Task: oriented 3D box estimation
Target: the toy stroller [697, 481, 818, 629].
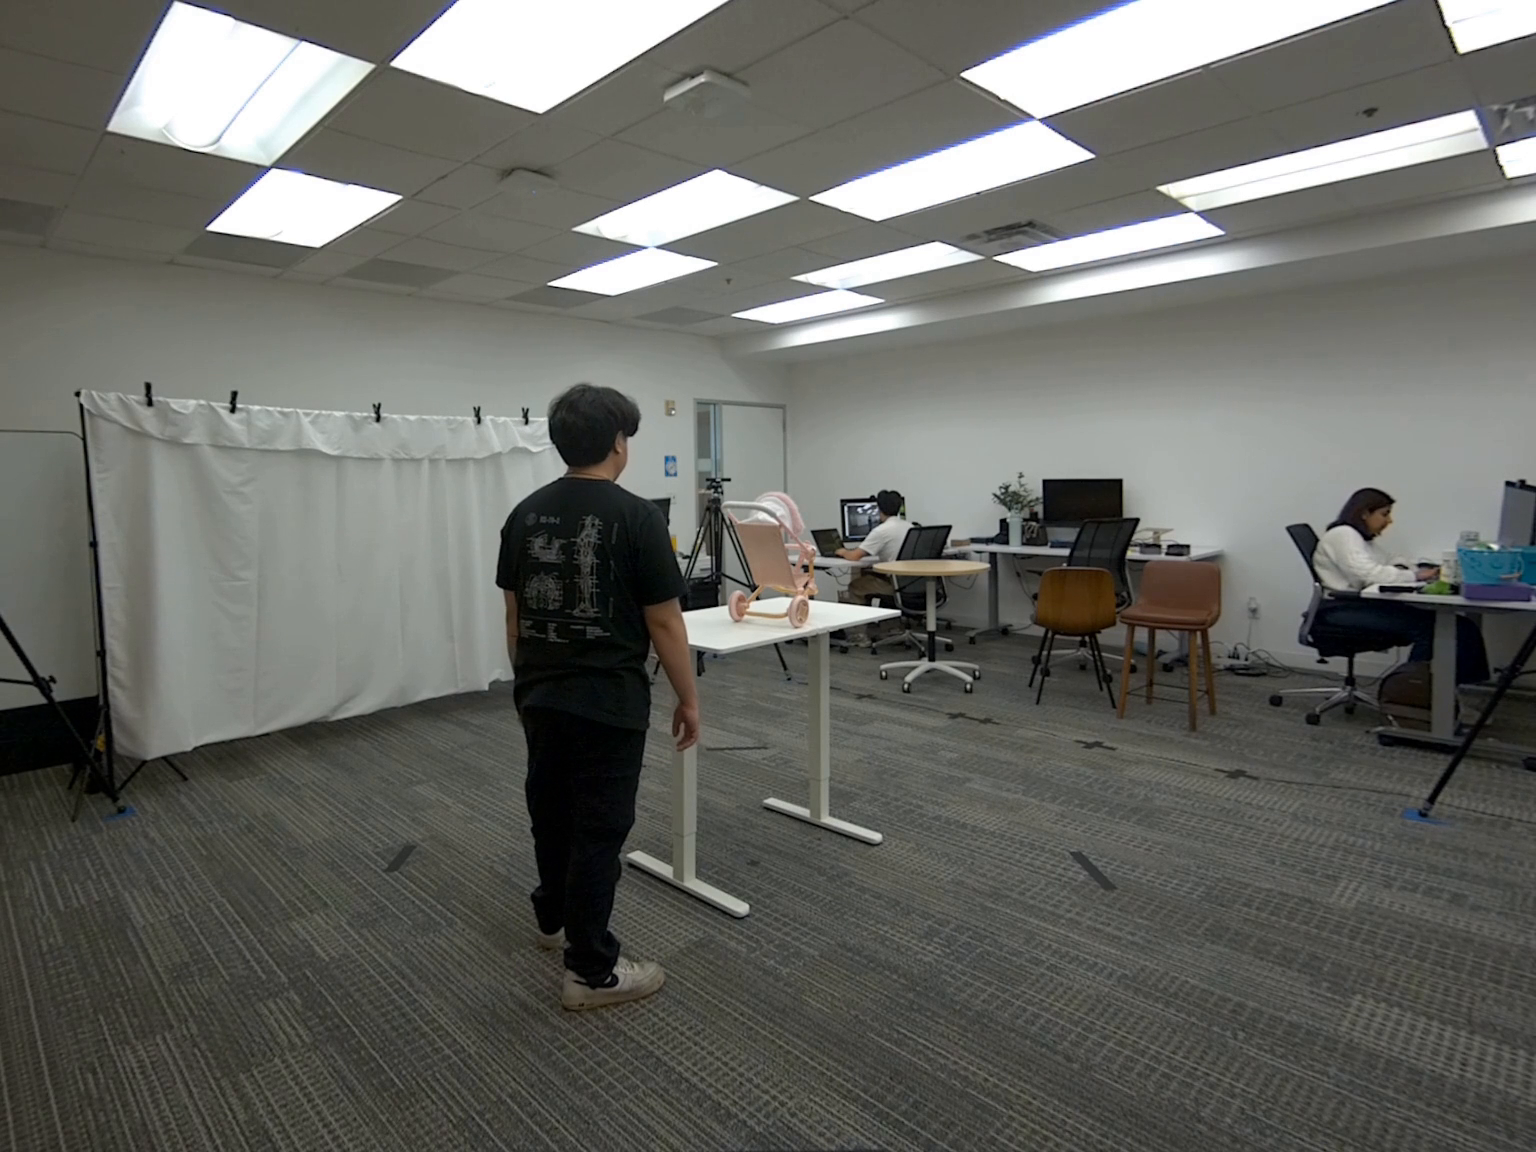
[{"bbox_3d":[0.036,-0.058,3.044,0.290,0.526,0.337,3,21,36],"label":"toy stroller"}]
